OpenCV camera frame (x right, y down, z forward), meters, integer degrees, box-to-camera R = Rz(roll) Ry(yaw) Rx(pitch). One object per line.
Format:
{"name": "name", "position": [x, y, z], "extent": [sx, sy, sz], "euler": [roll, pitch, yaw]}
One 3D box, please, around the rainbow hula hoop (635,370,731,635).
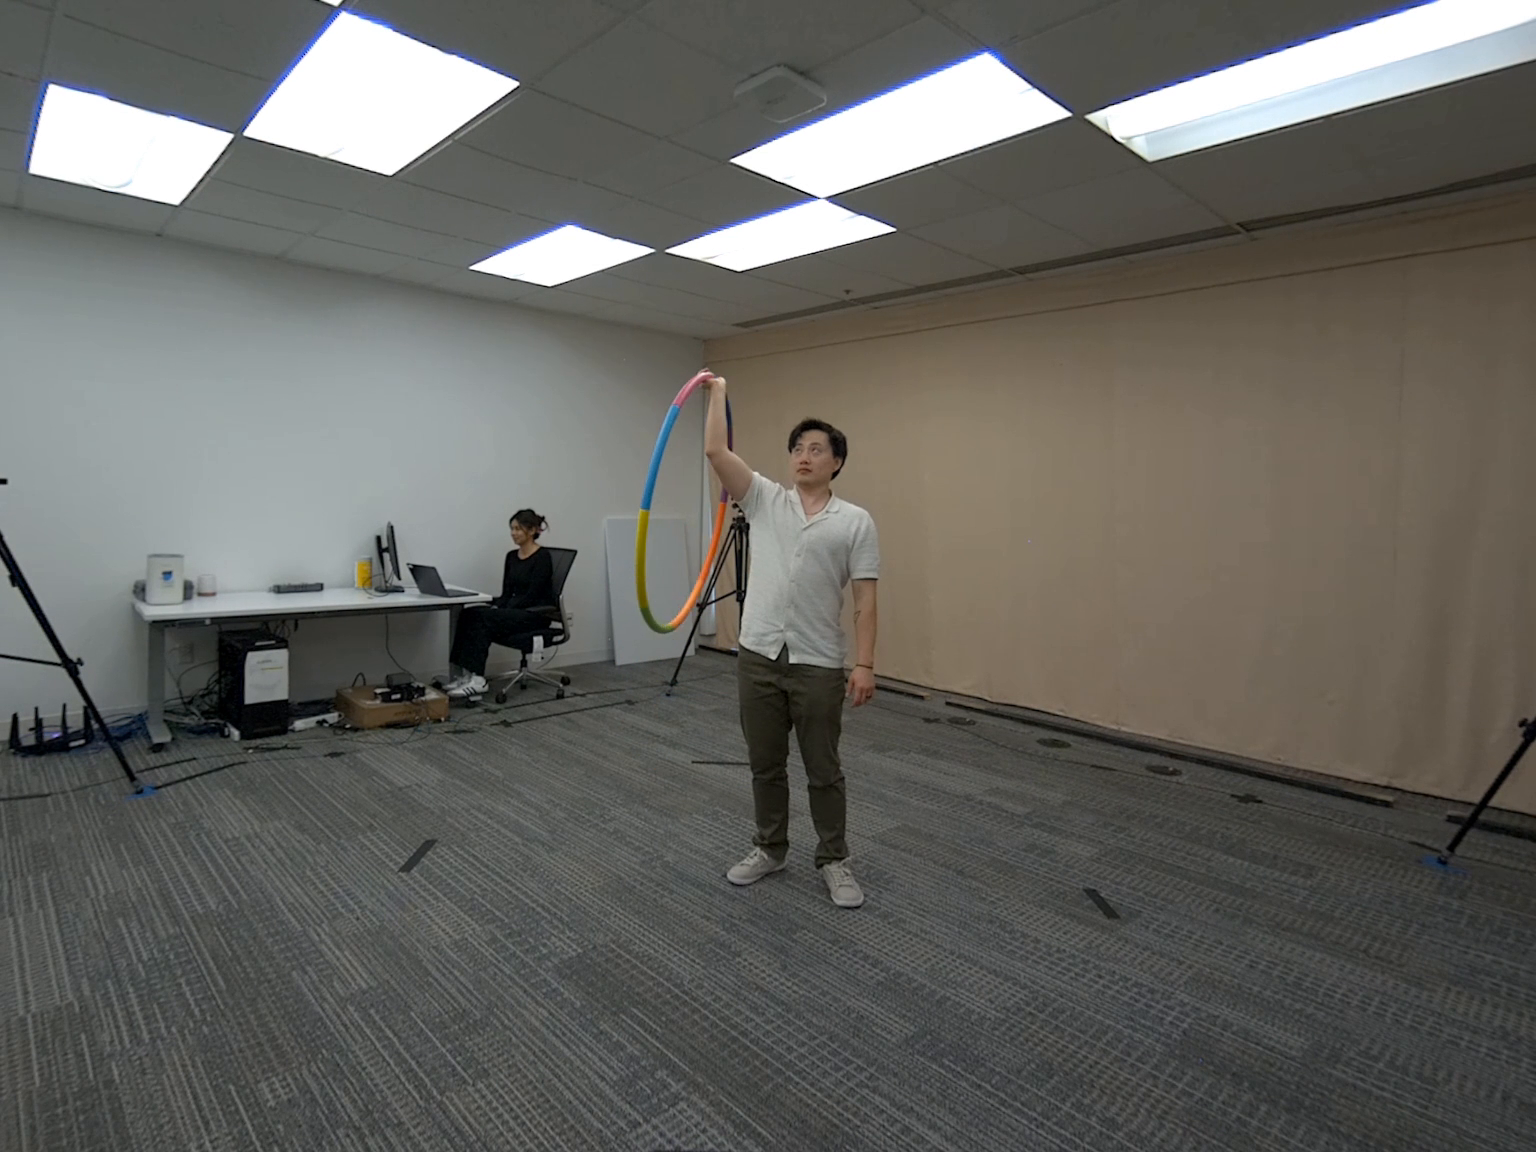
{"name": "rainbow hula hoop", "position": [-0.299, -0.264, 3.173], "extent": [0.036, 0.975, 0.970], "euler": [11, 6, 12]}
